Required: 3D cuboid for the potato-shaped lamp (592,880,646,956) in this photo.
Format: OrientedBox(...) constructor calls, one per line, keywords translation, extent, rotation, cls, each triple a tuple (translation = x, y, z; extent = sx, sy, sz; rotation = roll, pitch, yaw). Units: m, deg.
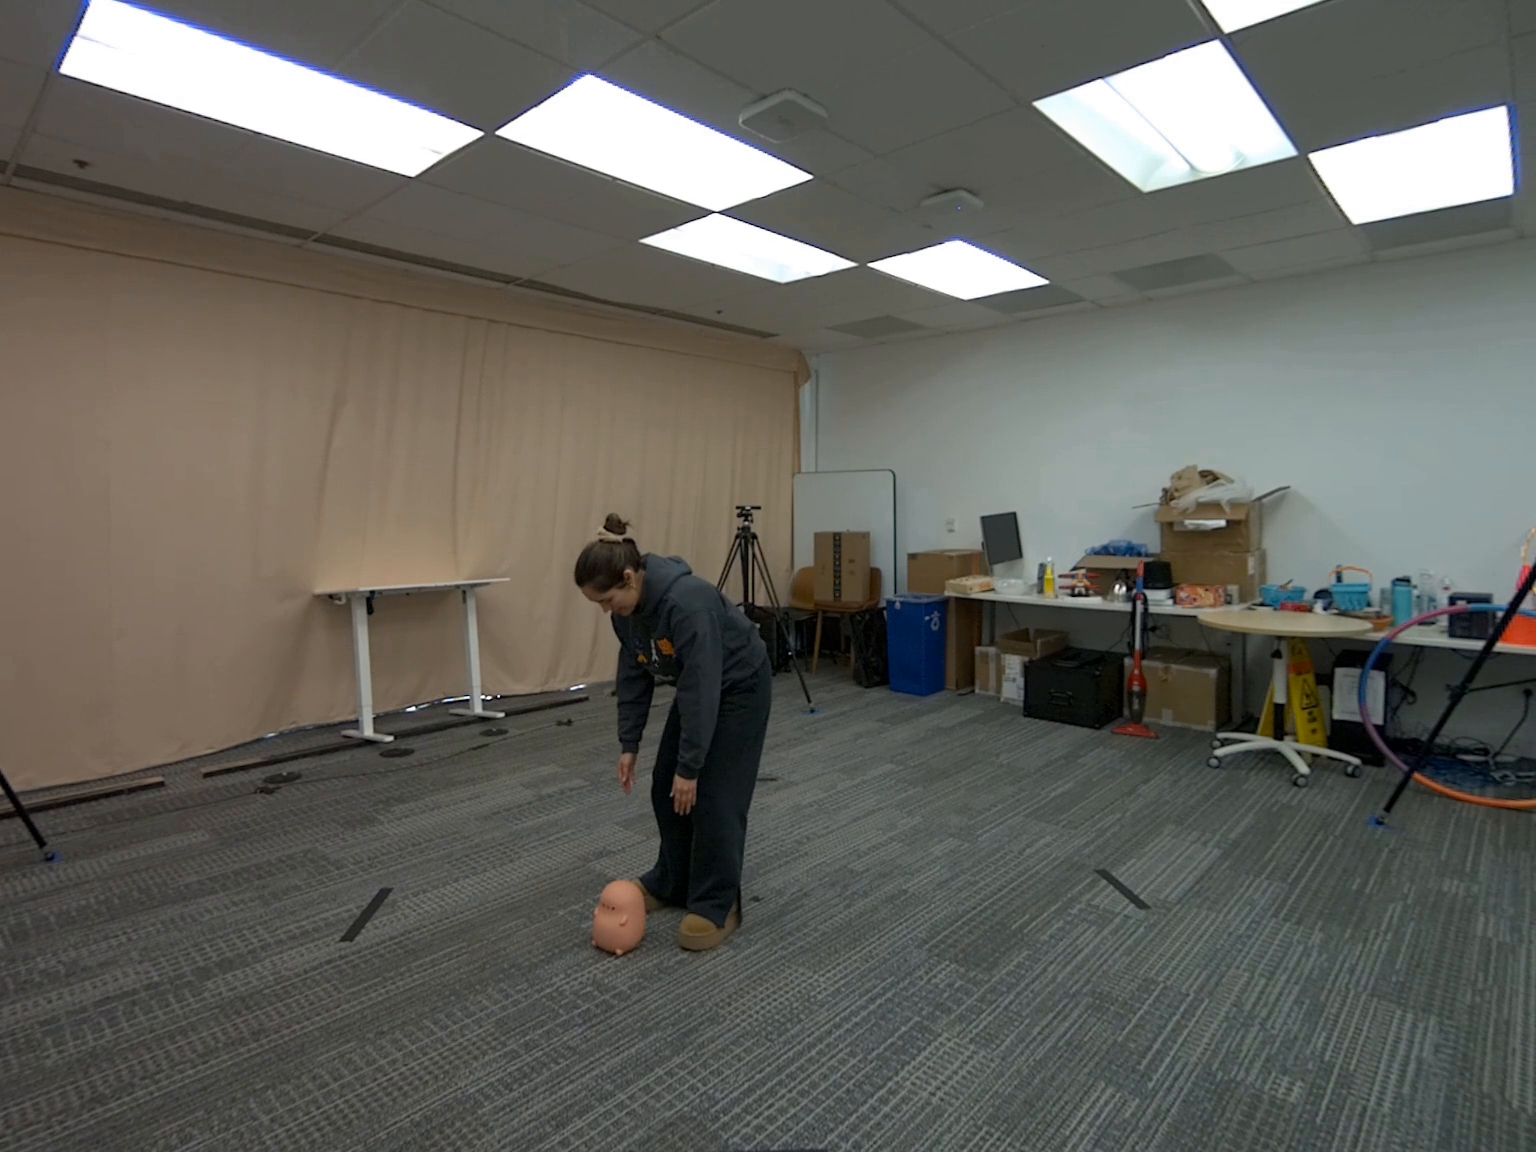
OrientedBox(translation=(-0.450, 1.076, 2.674), extent=(0.169, 0.198, 0.166), rotation=(1, -1, 32), cls="potato-shaped lamp")
